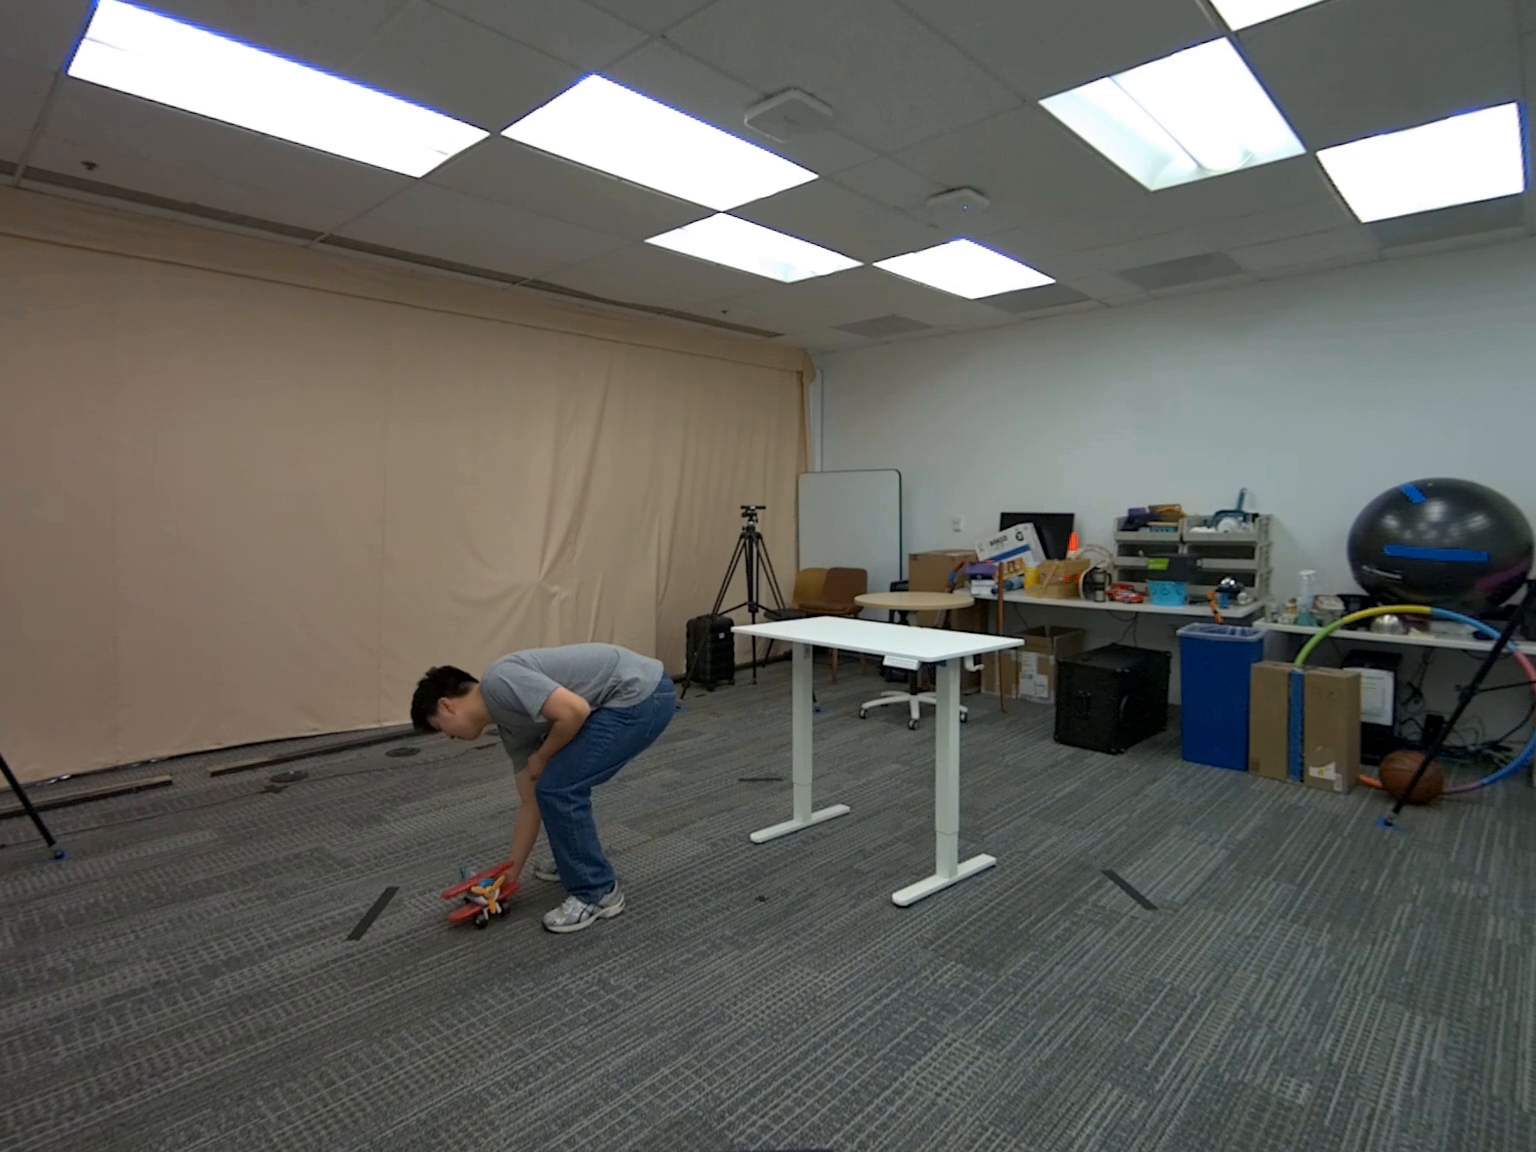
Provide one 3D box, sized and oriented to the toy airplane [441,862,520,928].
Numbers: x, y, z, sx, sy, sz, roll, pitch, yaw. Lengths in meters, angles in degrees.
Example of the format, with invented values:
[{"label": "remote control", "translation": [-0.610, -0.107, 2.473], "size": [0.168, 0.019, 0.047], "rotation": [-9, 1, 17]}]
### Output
[{"label": "toy airplane", "translation": [-1.002, 1.091, 2.858], "size": [0.265, 0.155, 0.247], "rotation": [-4, 12, 23]}]
